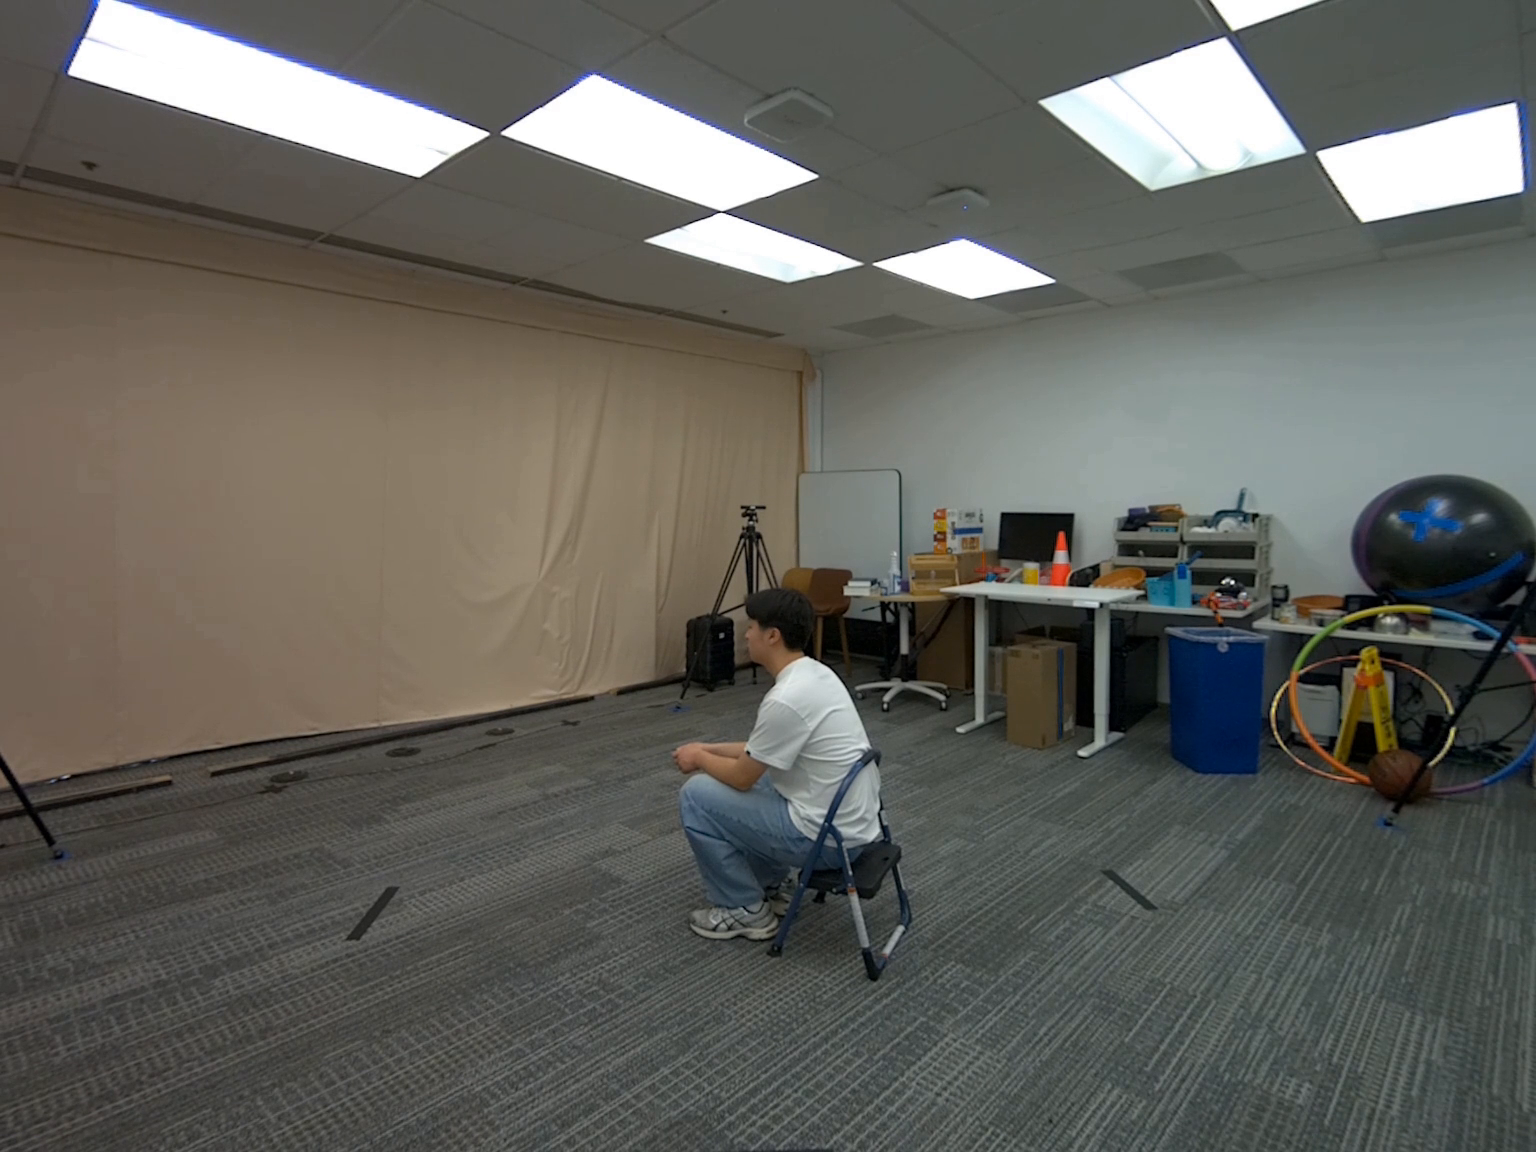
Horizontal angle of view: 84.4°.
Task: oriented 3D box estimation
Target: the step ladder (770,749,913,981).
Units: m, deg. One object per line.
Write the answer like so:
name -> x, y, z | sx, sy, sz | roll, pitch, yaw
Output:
step ladder -> 0.252, 0.868, 2.693 | 0.358, 0.604, 0.420 | 2, 5, 26
